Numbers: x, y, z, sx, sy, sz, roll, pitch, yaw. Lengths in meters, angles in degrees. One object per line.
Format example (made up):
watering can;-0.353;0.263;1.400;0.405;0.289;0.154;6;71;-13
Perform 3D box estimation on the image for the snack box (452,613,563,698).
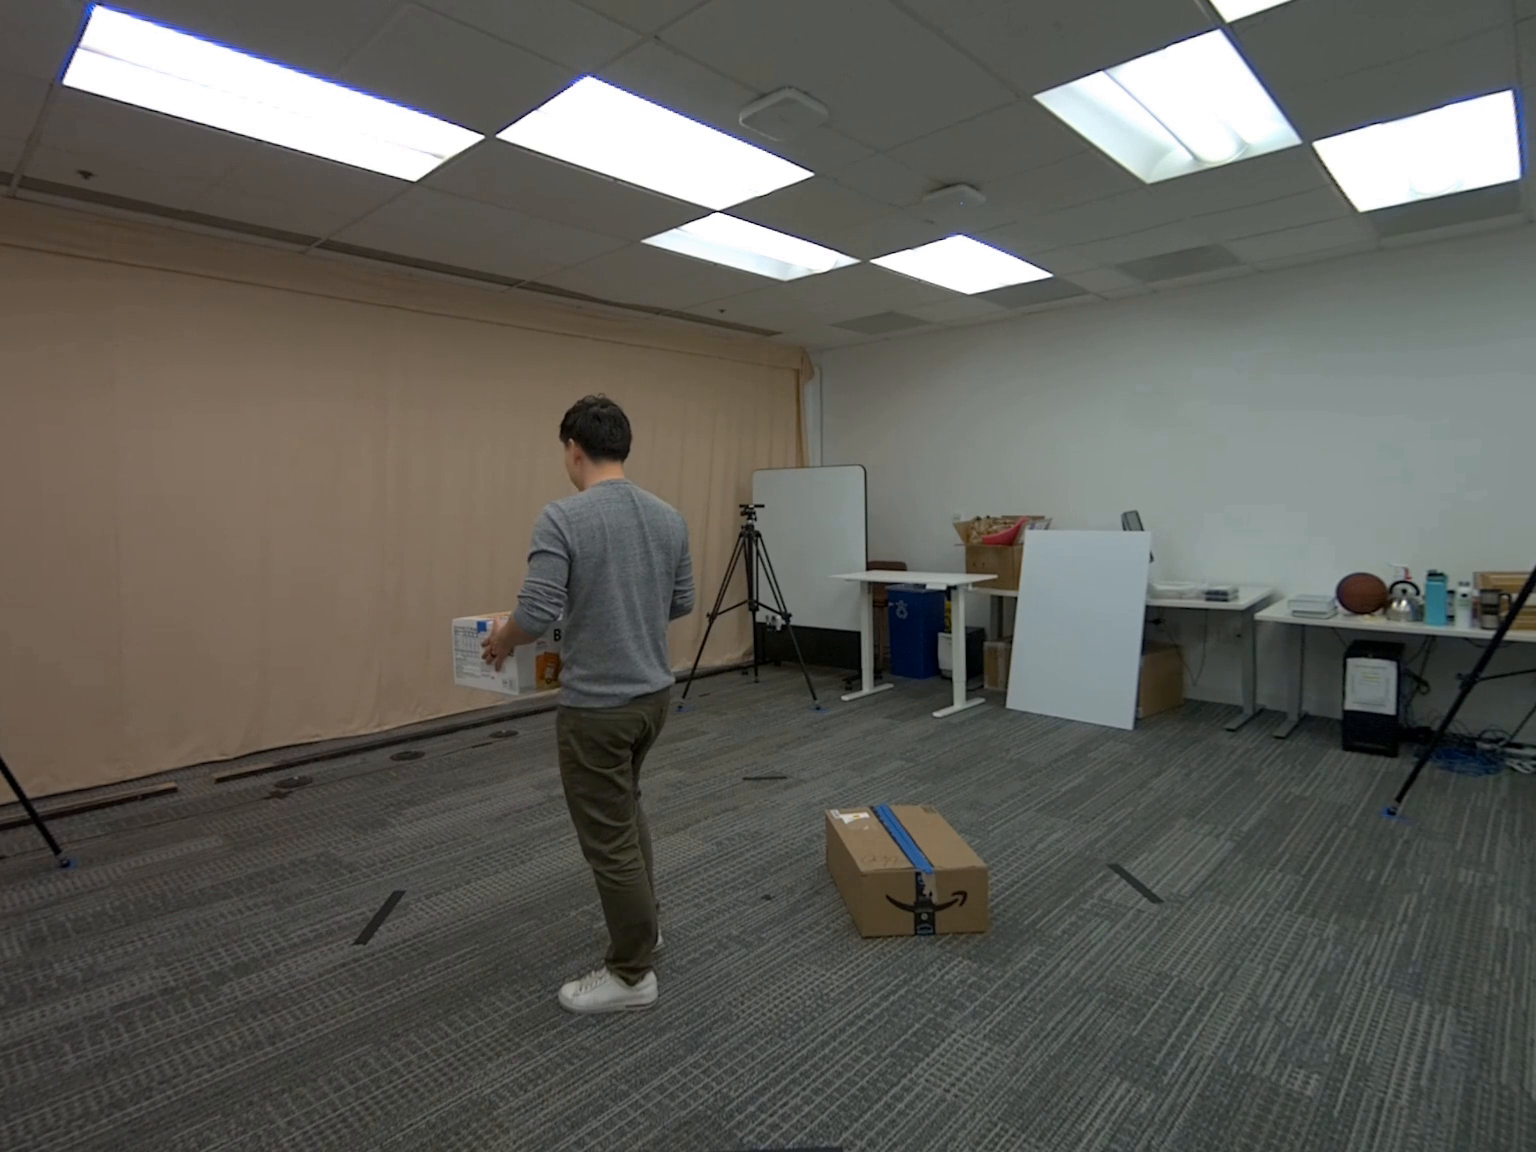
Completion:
snack box;-0.698;0.222;2.595;0.351;0.205;0.393;0;4;40
